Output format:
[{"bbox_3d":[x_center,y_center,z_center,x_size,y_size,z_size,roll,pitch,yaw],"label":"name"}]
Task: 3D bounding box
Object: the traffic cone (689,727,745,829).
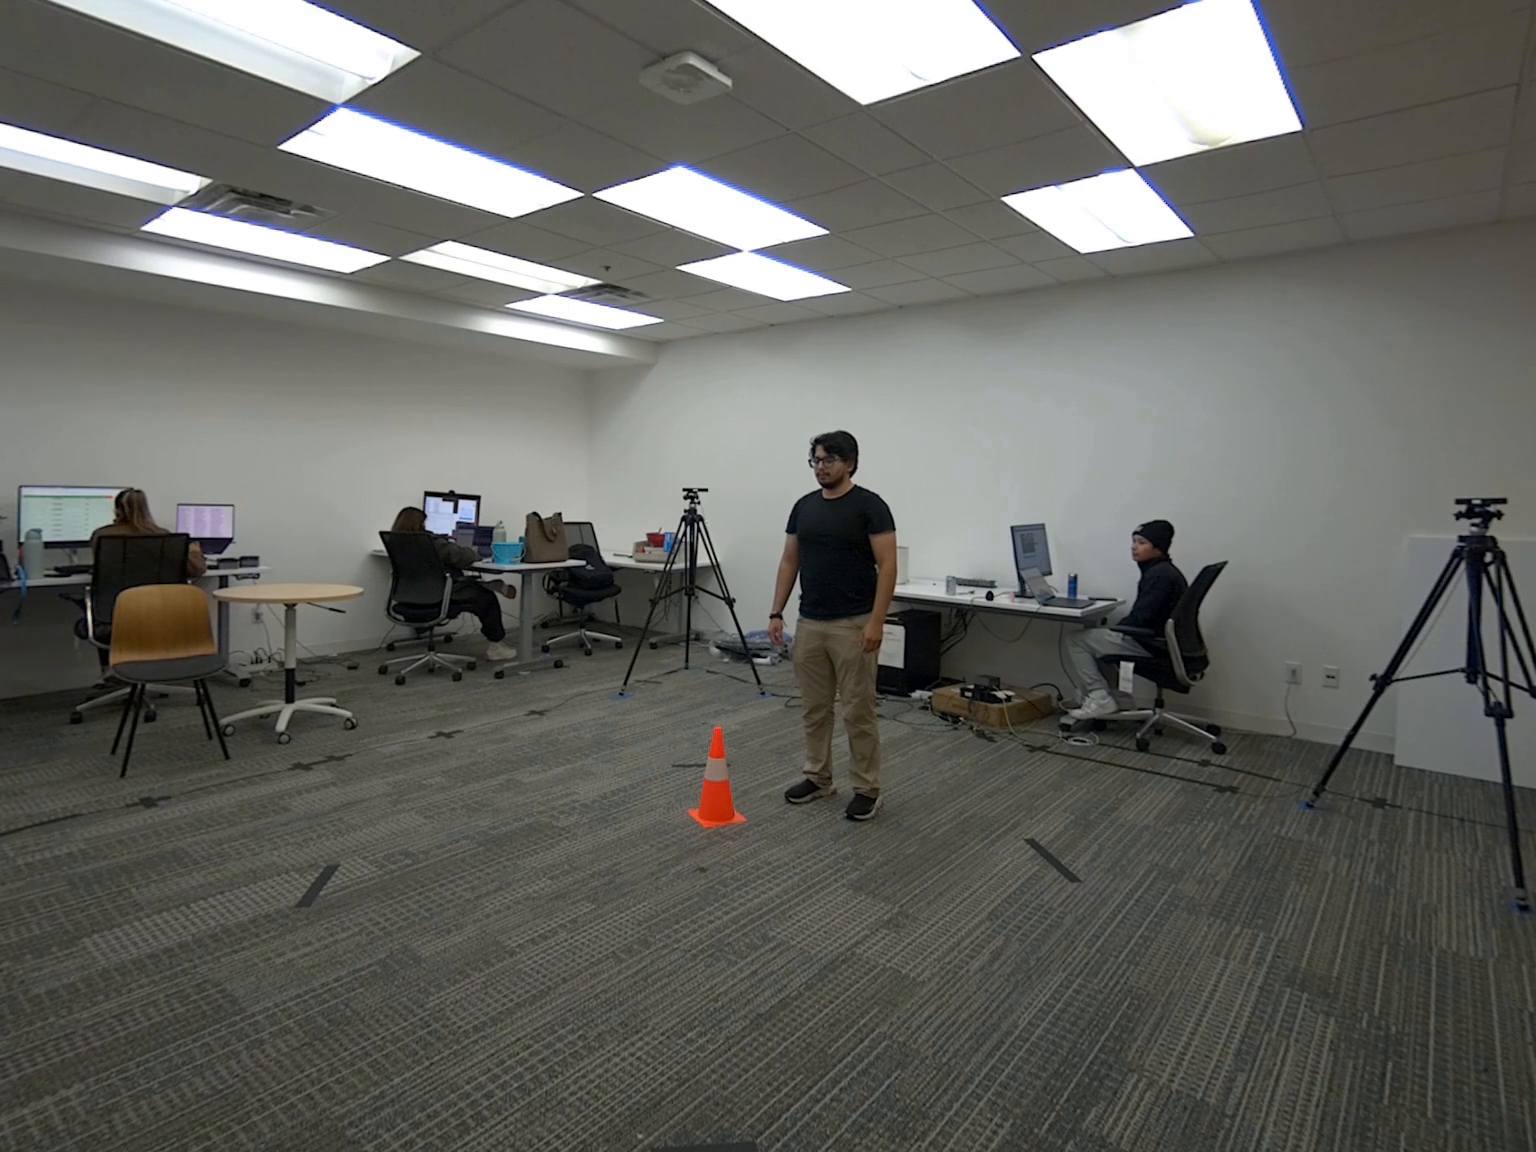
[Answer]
[{"bbox_3d":[-0.223,0.837,3.625,0.199,0.383,0.210,1,4,-31],"label":"traffic cone"}]
